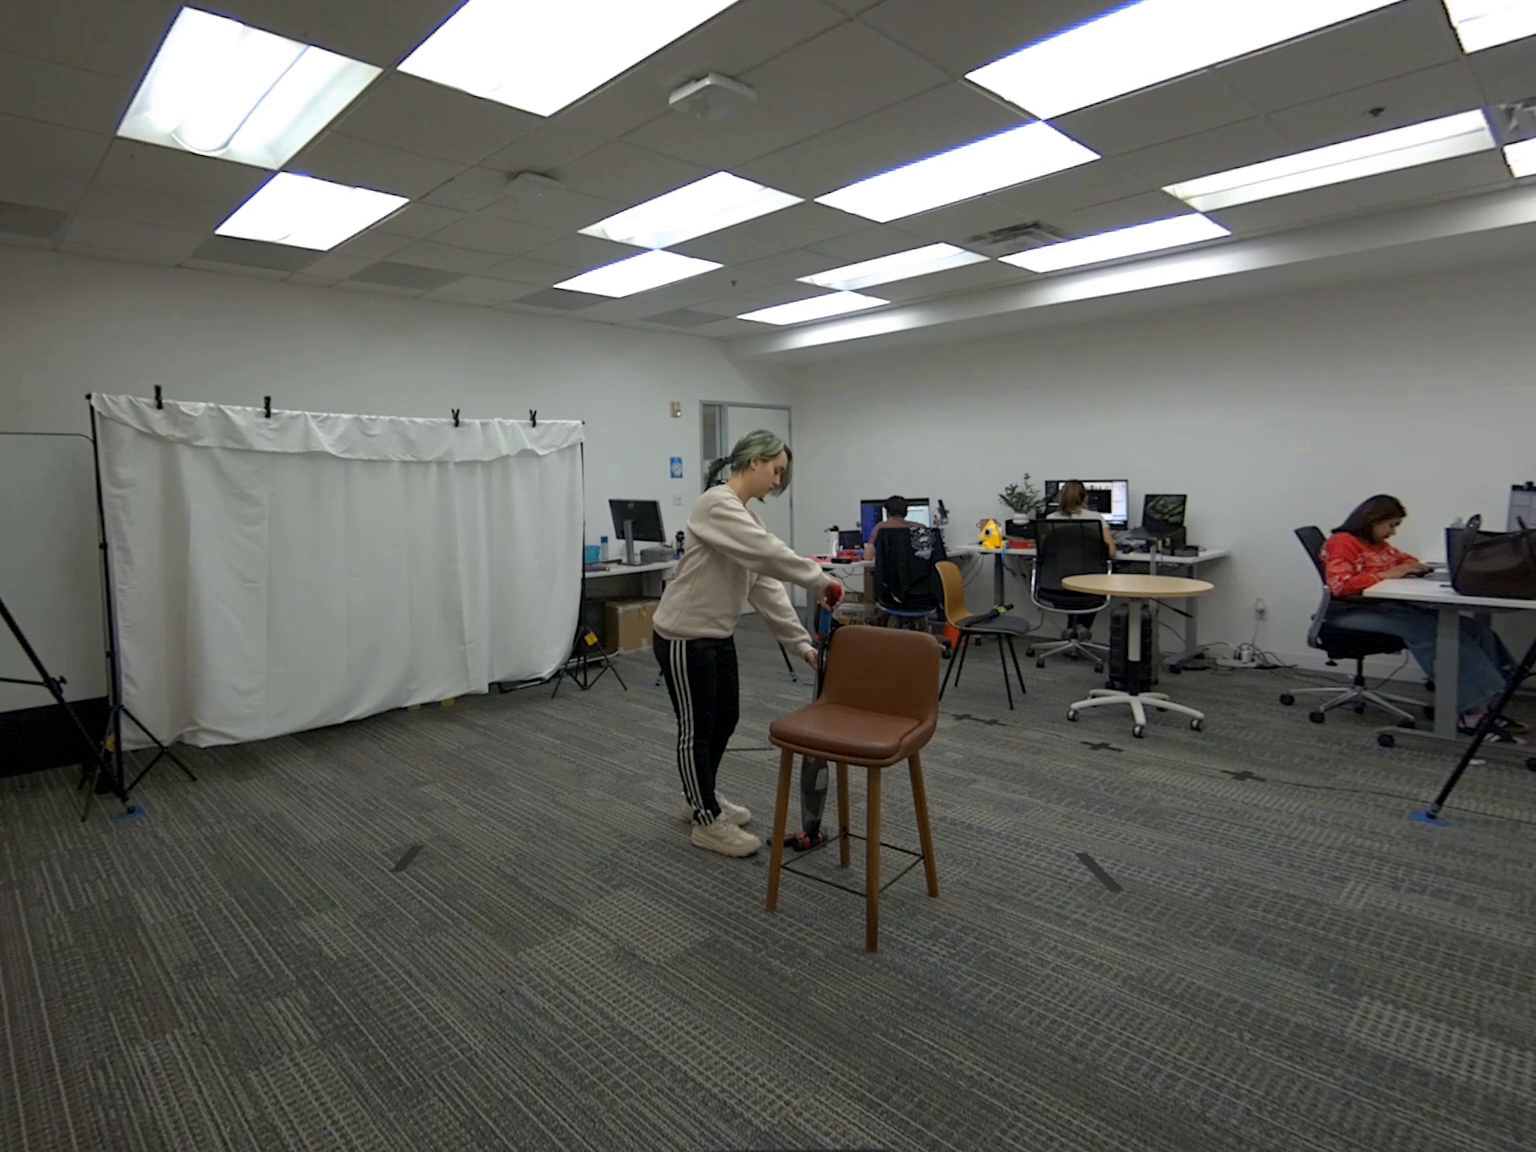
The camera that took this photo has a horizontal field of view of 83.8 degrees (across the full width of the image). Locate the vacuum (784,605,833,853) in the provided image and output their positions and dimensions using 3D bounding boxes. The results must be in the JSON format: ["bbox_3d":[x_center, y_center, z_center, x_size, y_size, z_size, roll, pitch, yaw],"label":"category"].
[{"bbox_3d":[0.191,0.533,3.136,0.246,1.036,0.149,-4,19,-34],"label":"vacuum"}]
